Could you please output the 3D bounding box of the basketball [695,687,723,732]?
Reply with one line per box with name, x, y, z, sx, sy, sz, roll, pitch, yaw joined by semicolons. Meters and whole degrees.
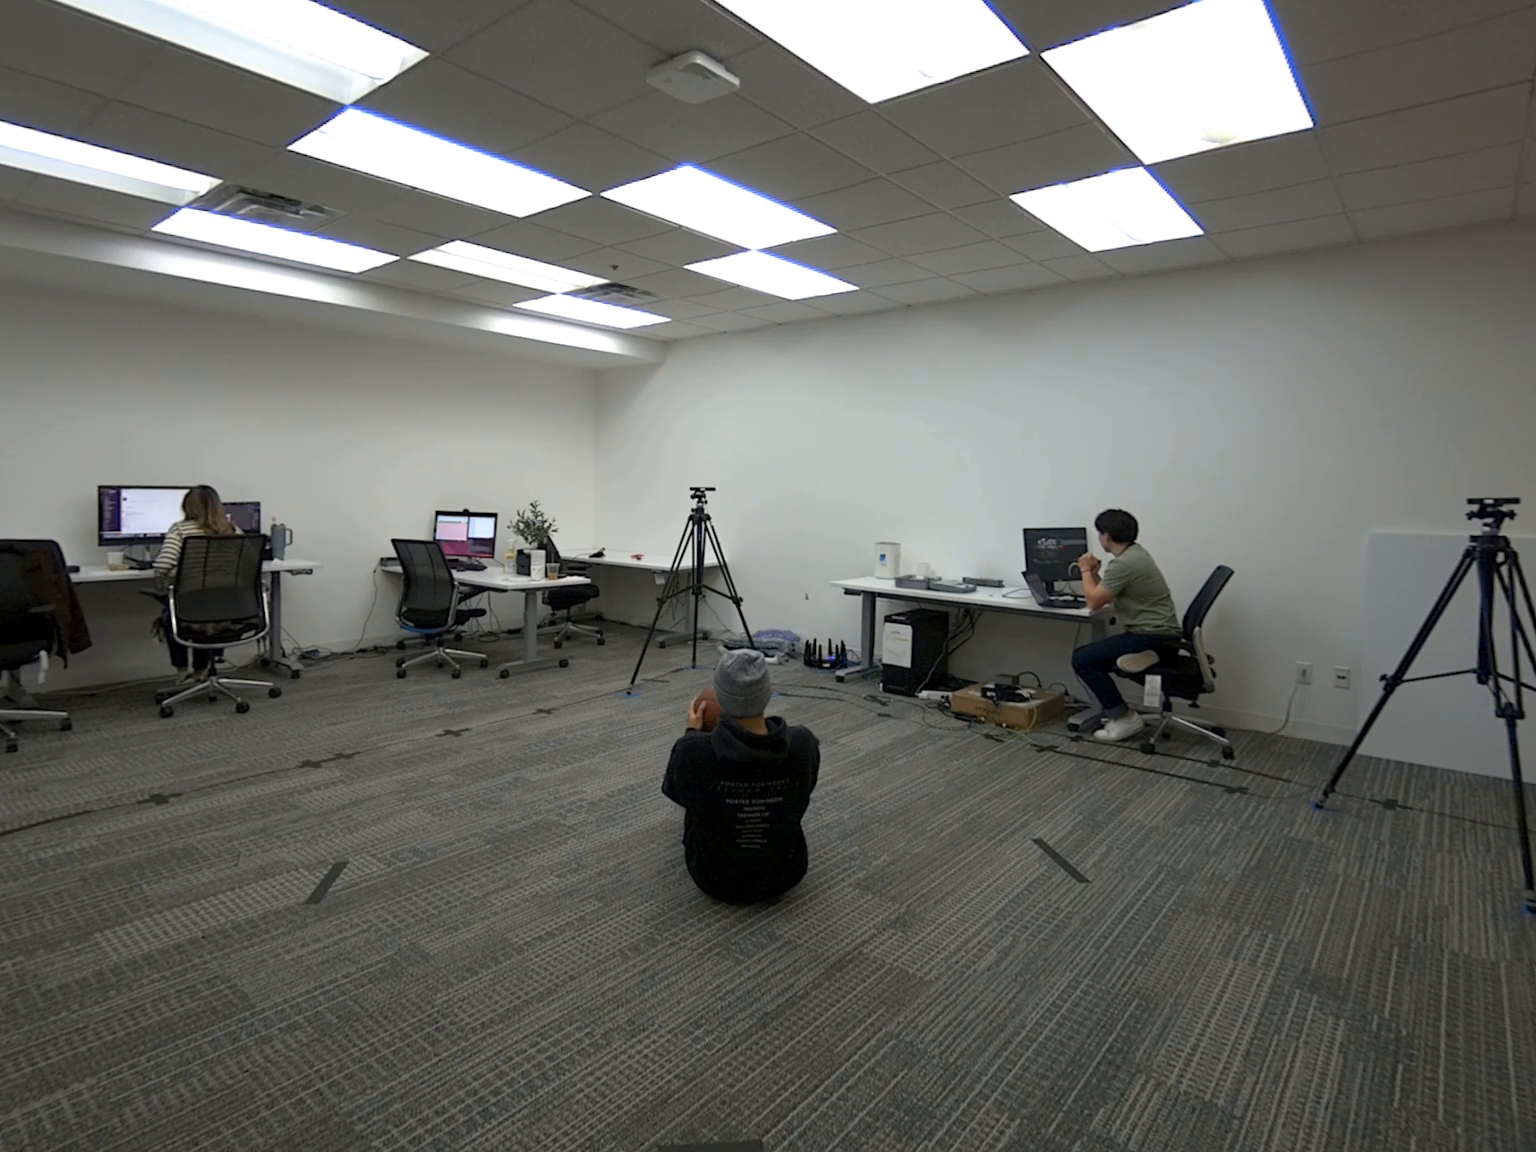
basketball;-0.164;0.529;3.244;0.235;0.235;0.237;1;4;-2
